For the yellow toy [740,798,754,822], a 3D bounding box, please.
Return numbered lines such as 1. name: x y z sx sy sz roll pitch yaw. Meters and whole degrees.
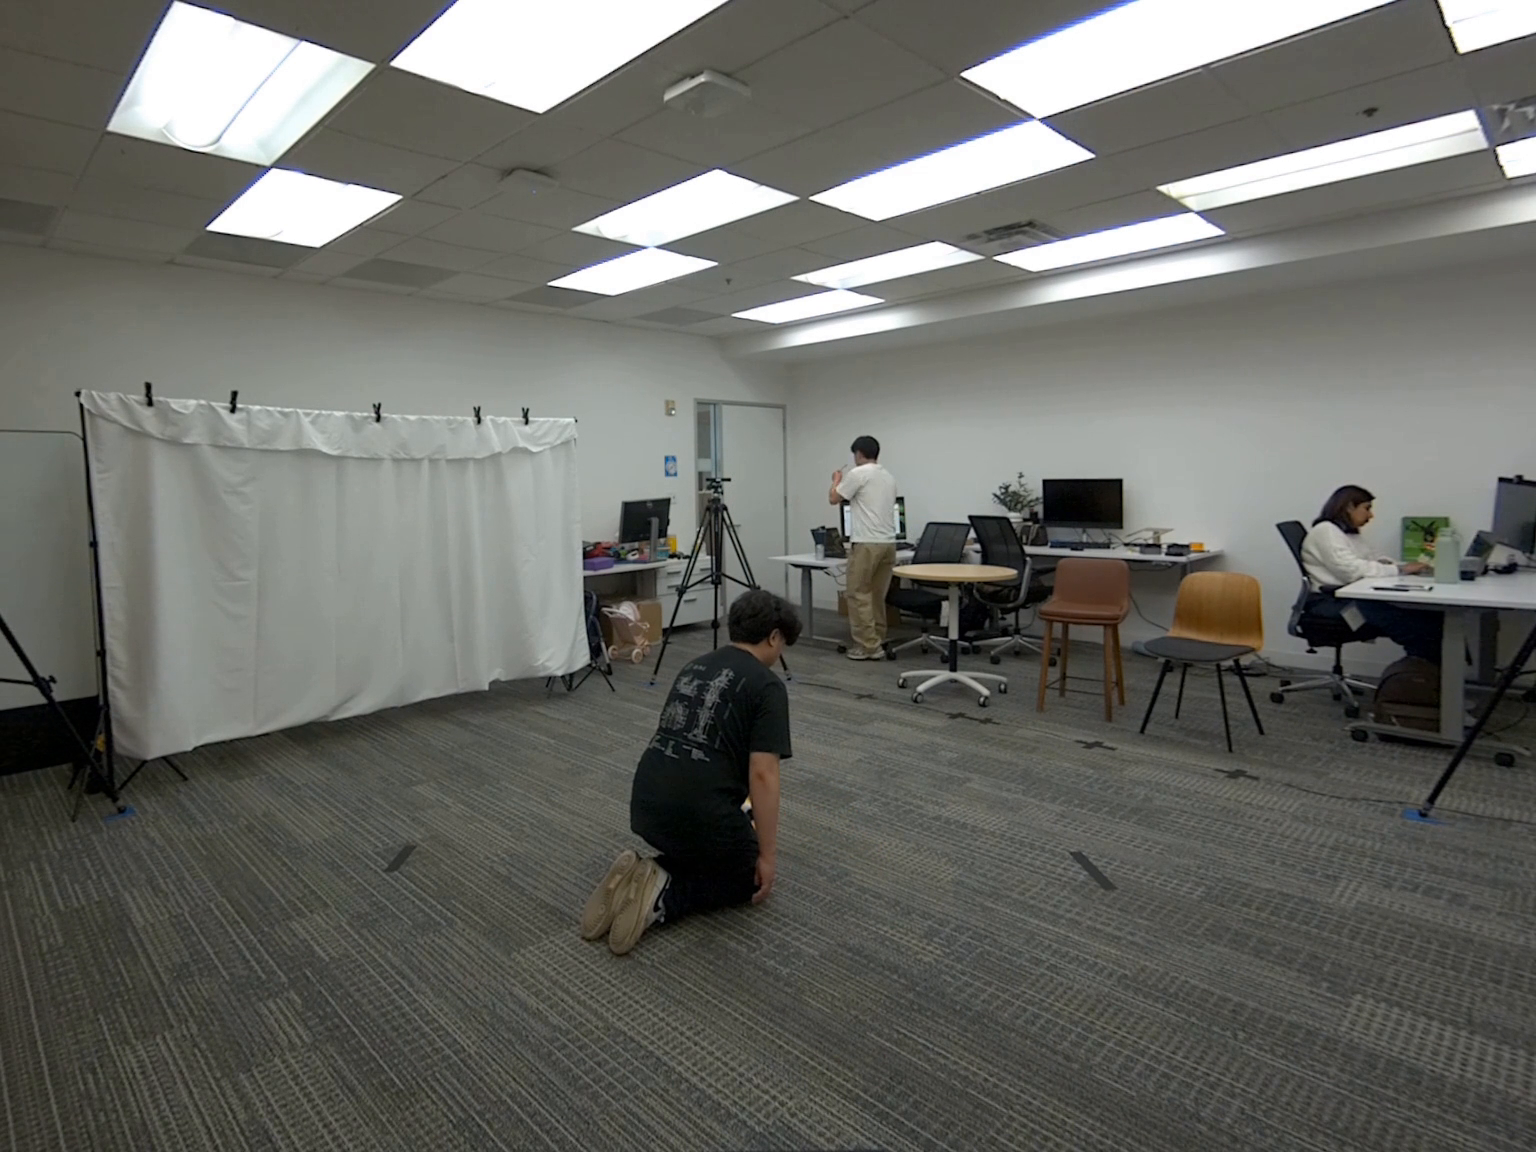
1. yellow toy: -0.073 0.910 3.284 0.192 0.230 0.206 -2 5 -3
